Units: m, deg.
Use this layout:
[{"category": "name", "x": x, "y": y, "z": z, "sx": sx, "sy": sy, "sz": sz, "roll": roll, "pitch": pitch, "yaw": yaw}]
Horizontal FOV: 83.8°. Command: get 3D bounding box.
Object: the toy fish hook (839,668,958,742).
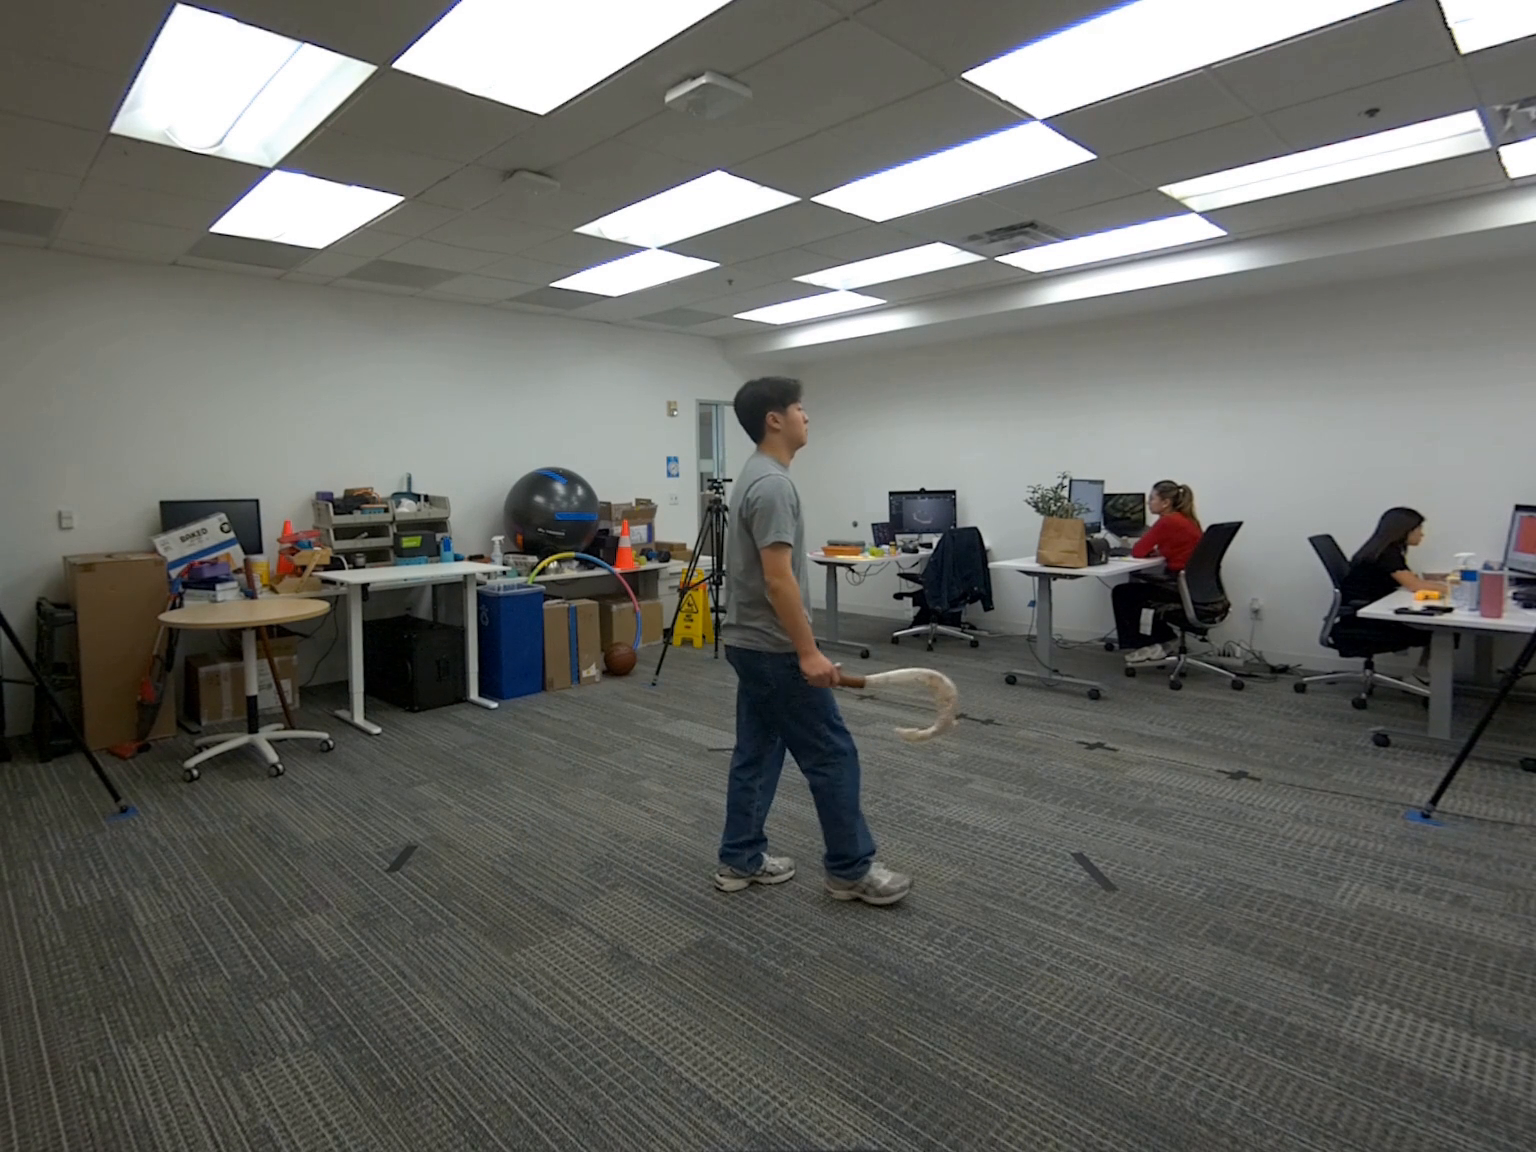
[{"category": "toy fish hook", "x": 0.354, "y": 0.362, "z": 2.635, "sx": 0.503, "sy": 0.227, "sz": 0.048, "roll": 7, "pitch": -16, "yaw": -6}]
